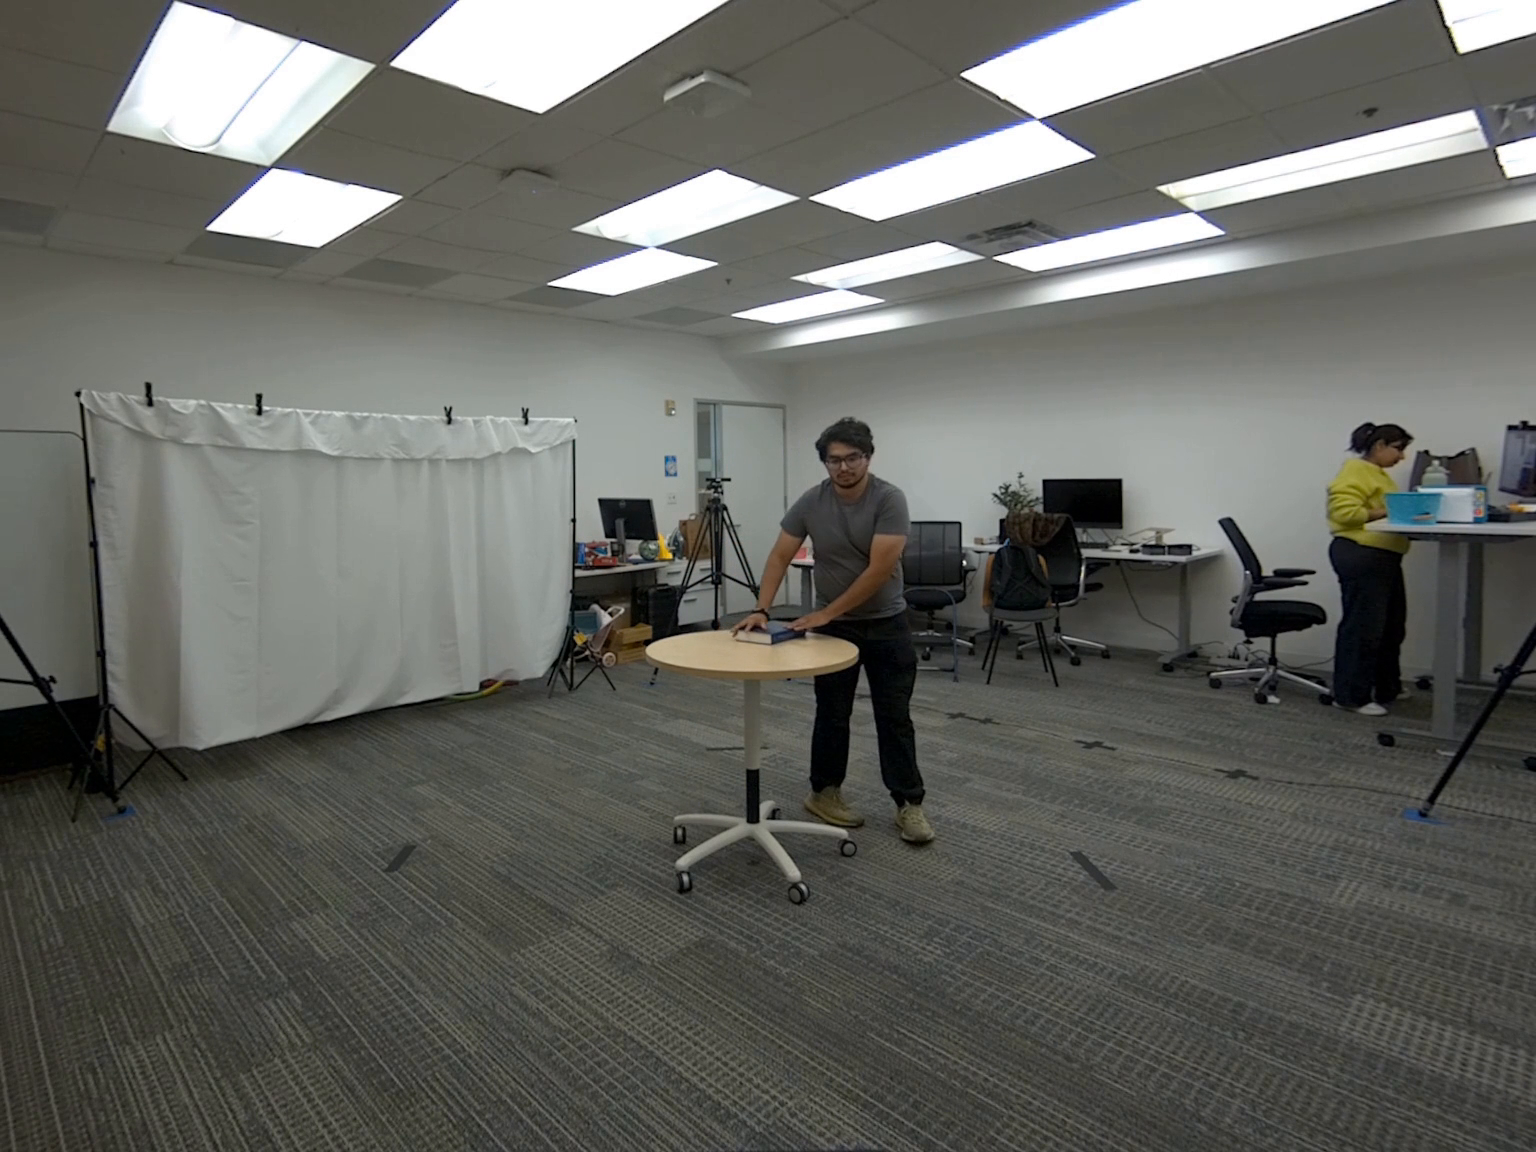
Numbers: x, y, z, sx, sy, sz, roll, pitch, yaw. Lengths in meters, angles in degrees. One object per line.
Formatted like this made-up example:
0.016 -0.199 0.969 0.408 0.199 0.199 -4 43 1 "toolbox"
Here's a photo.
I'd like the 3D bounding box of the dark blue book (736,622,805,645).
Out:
0.024 0.220 3.279 0.168 0.045 0.239 3 8 34 "dark blue book"
